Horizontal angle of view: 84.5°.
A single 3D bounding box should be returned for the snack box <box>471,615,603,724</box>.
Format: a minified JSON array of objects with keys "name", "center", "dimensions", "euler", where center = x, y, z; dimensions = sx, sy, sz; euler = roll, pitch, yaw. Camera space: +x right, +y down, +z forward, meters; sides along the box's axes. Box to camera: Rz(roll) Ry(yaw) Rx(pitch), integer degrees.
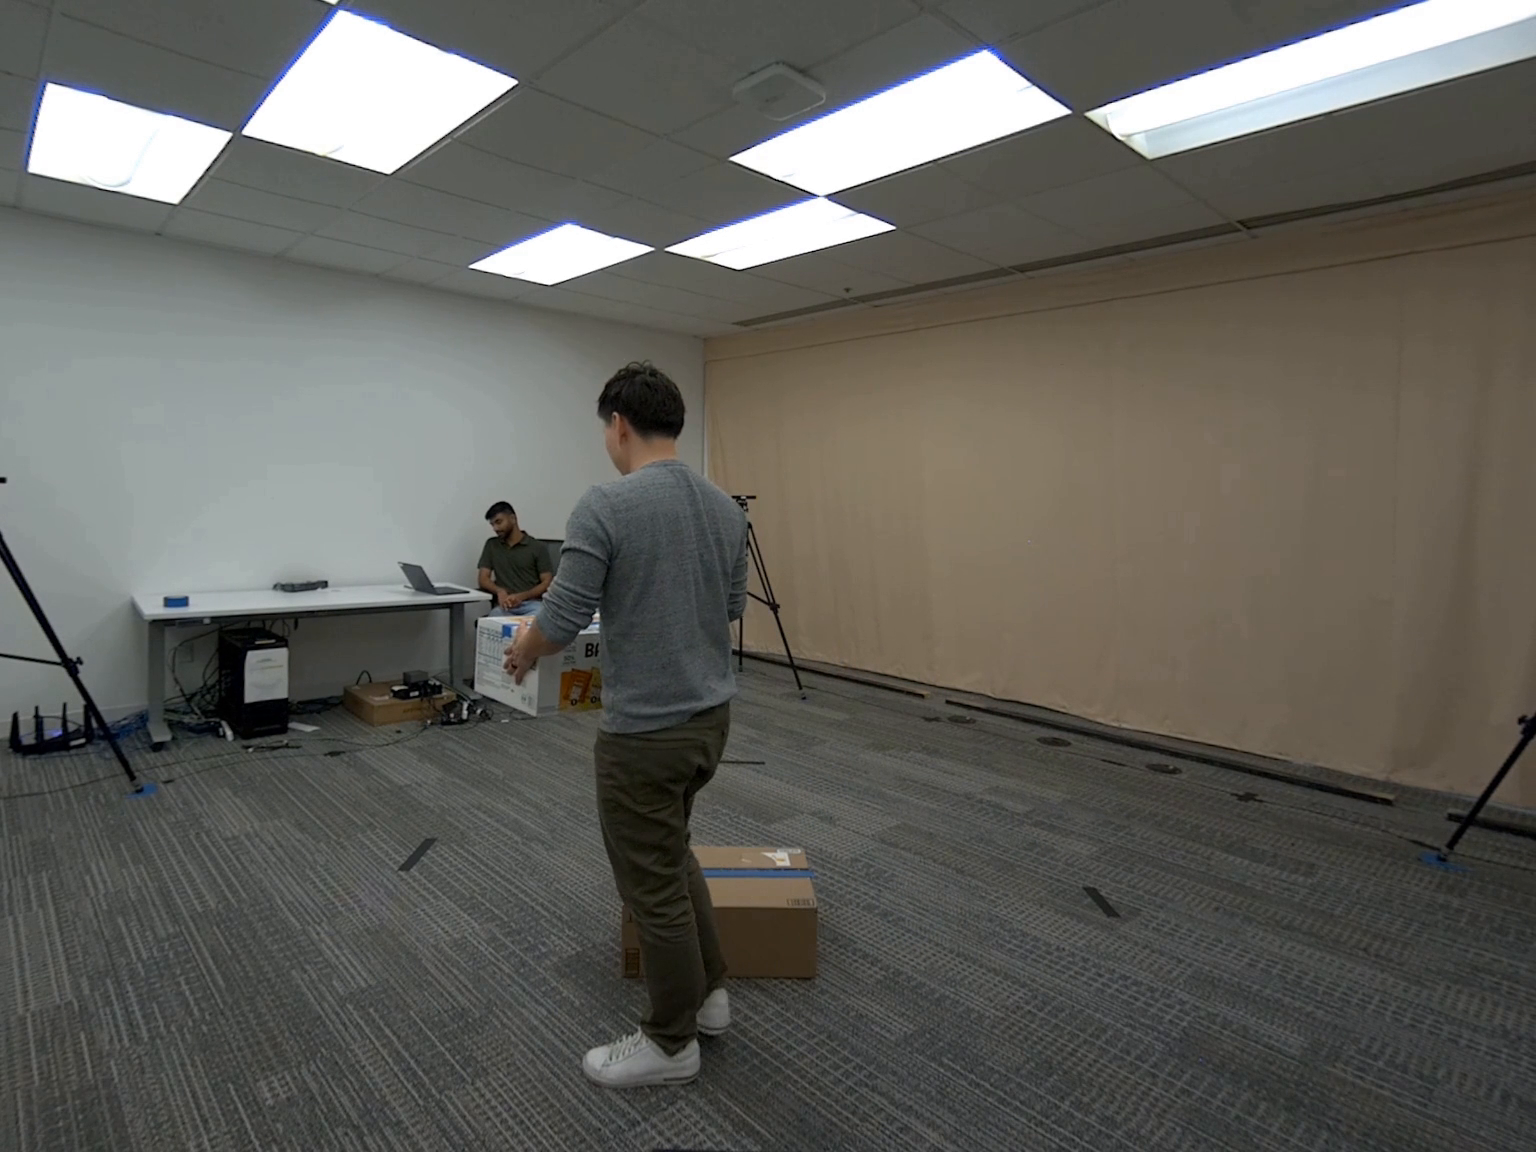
[{"name":"snack box","center":[-0.529,0.234,2.282],"dimensions":[0.395,0.205,0.349],"euler":[0,4,-43]}]
